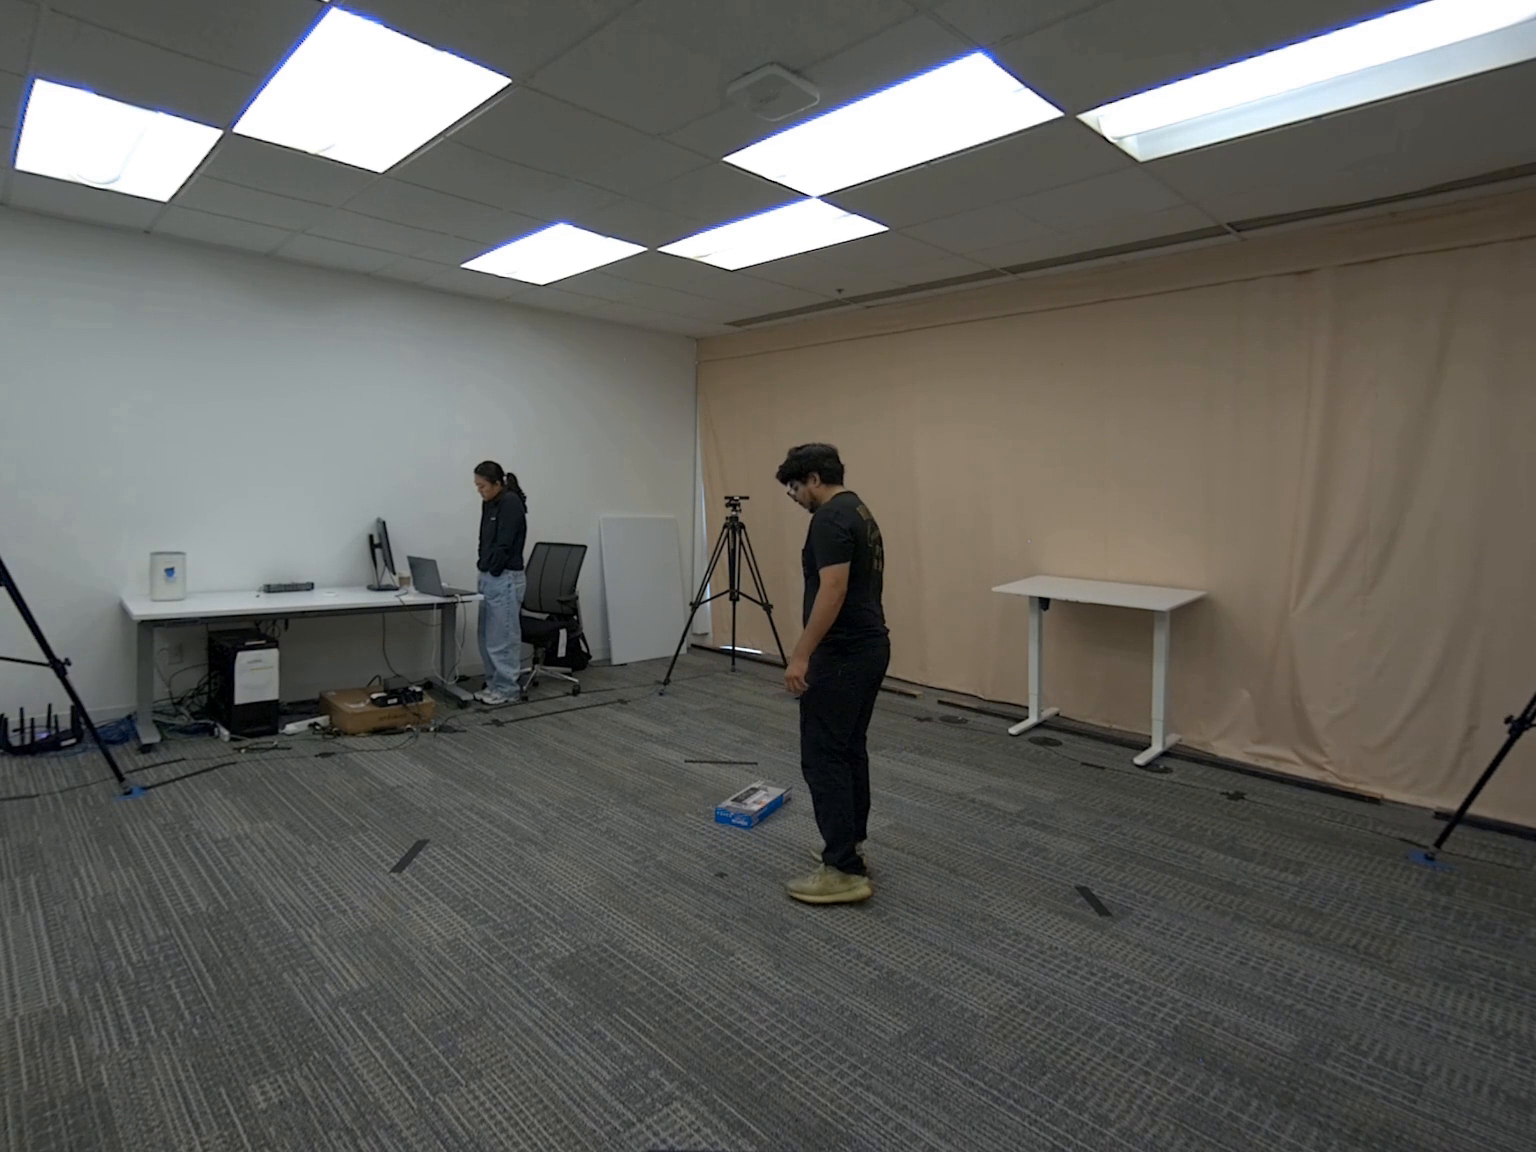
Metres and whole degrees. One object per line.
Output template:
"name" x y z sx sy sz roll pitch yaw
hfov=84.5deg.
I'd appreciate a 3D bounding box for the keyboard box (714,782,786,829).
"keyboard box" -0.068 1.017 3.776 0.179 0.059 0.429 4 6 26
